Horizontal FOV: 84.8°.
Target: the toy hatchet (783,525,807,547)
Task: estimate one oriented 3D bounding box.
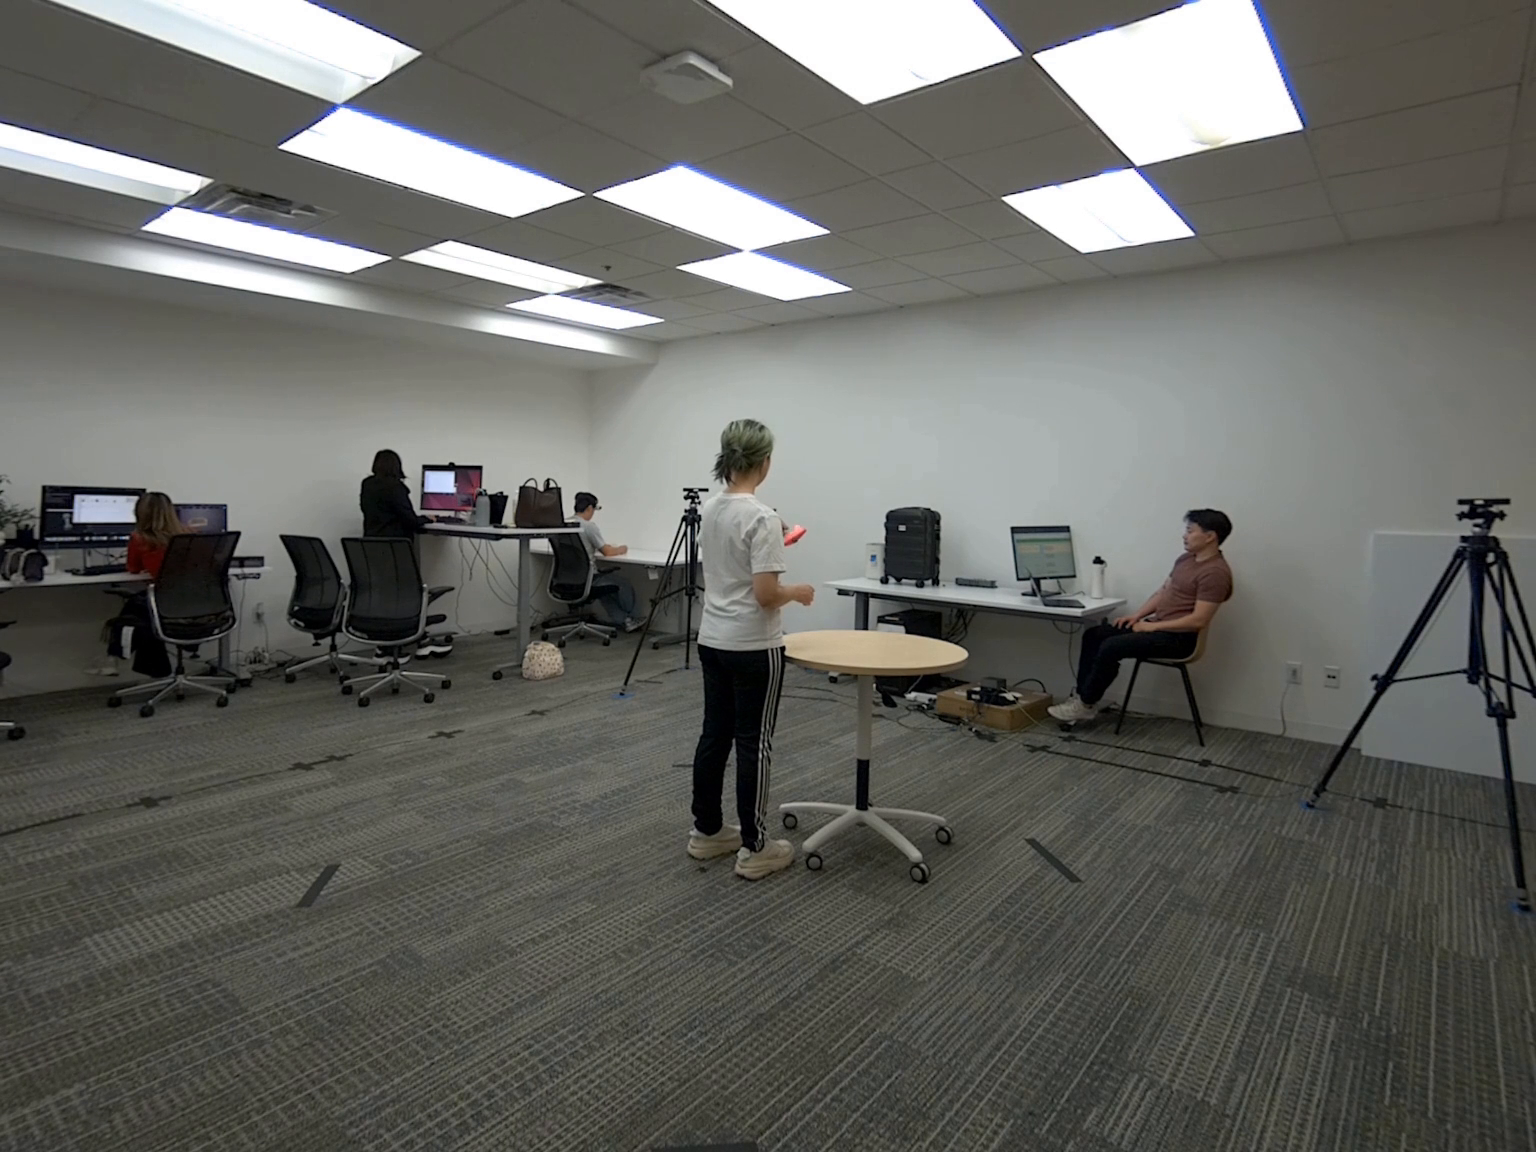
[{"bbox_3d":[0.065,-0.220,3.531,0.131,0.028,0.279,-23,37,6],"label":"toy hatchet"}]
